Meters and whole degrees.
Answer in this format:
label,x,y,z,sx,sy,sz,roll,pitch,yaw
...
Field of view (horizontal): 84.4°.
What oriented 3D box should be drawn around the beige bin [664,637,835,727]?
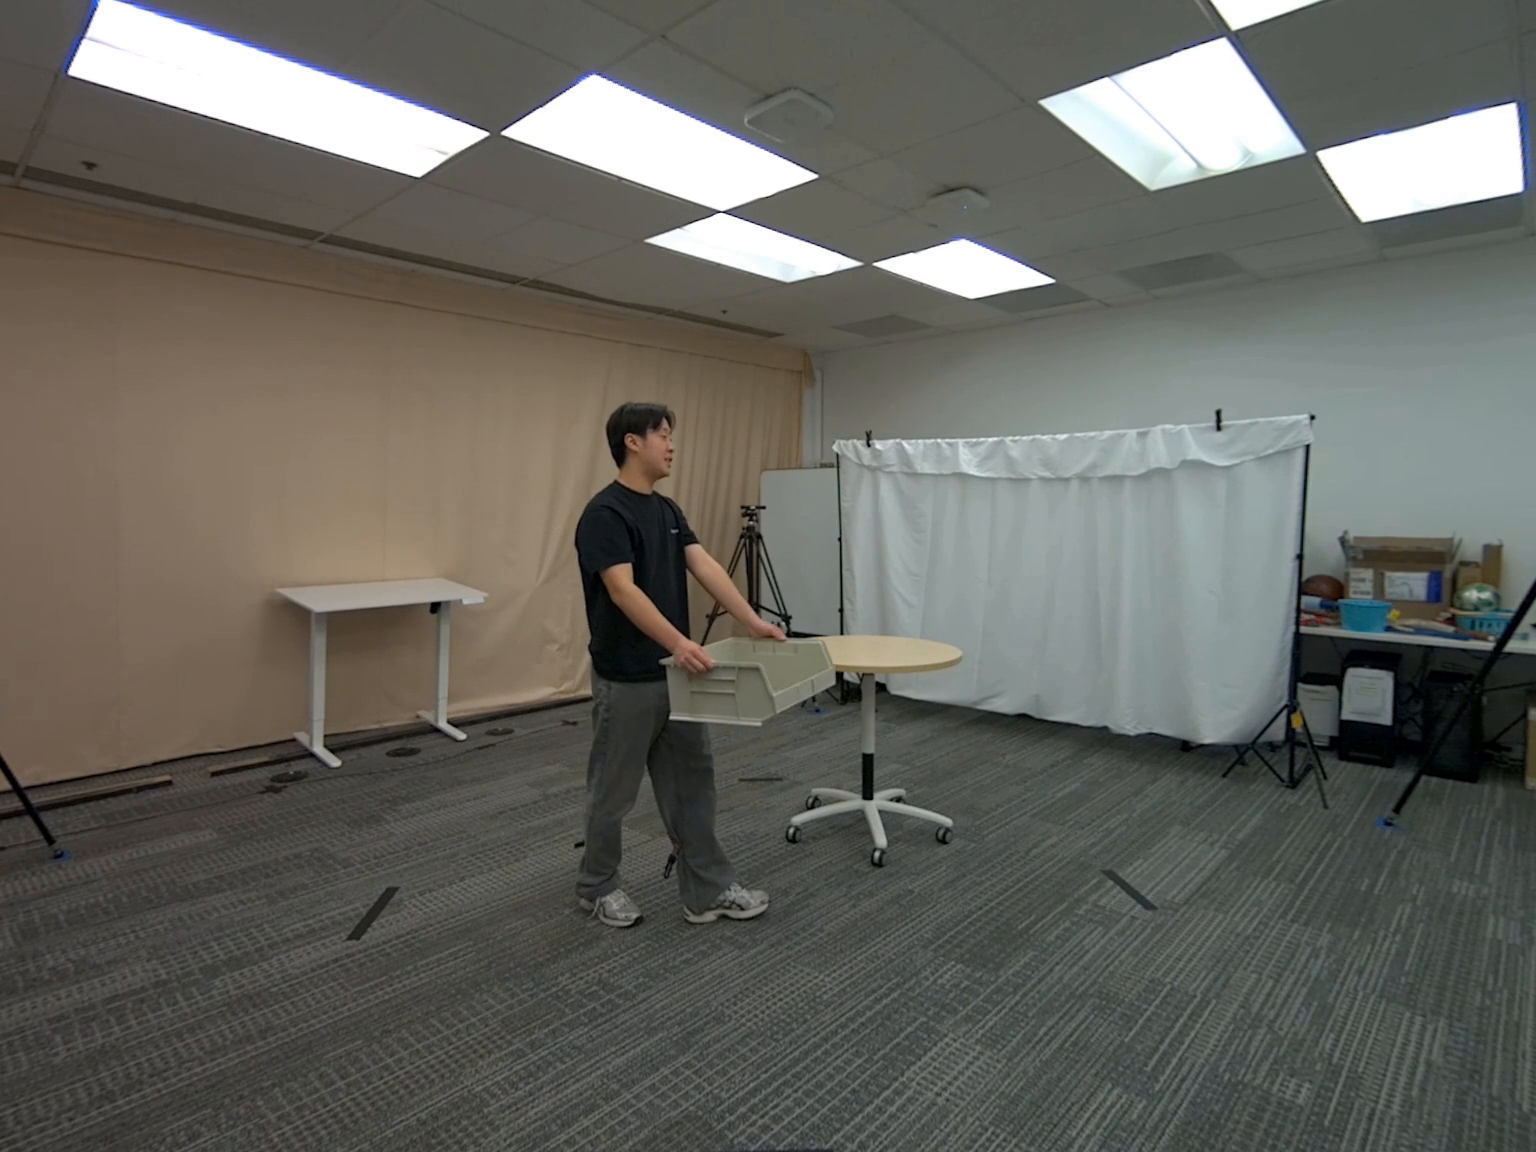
label,x,y,z,sx,sy,sz,roll,pitch,yaw
beige bin,-0.040,0.310,2.579,0.388,0.188,0.412,-4,4,30
